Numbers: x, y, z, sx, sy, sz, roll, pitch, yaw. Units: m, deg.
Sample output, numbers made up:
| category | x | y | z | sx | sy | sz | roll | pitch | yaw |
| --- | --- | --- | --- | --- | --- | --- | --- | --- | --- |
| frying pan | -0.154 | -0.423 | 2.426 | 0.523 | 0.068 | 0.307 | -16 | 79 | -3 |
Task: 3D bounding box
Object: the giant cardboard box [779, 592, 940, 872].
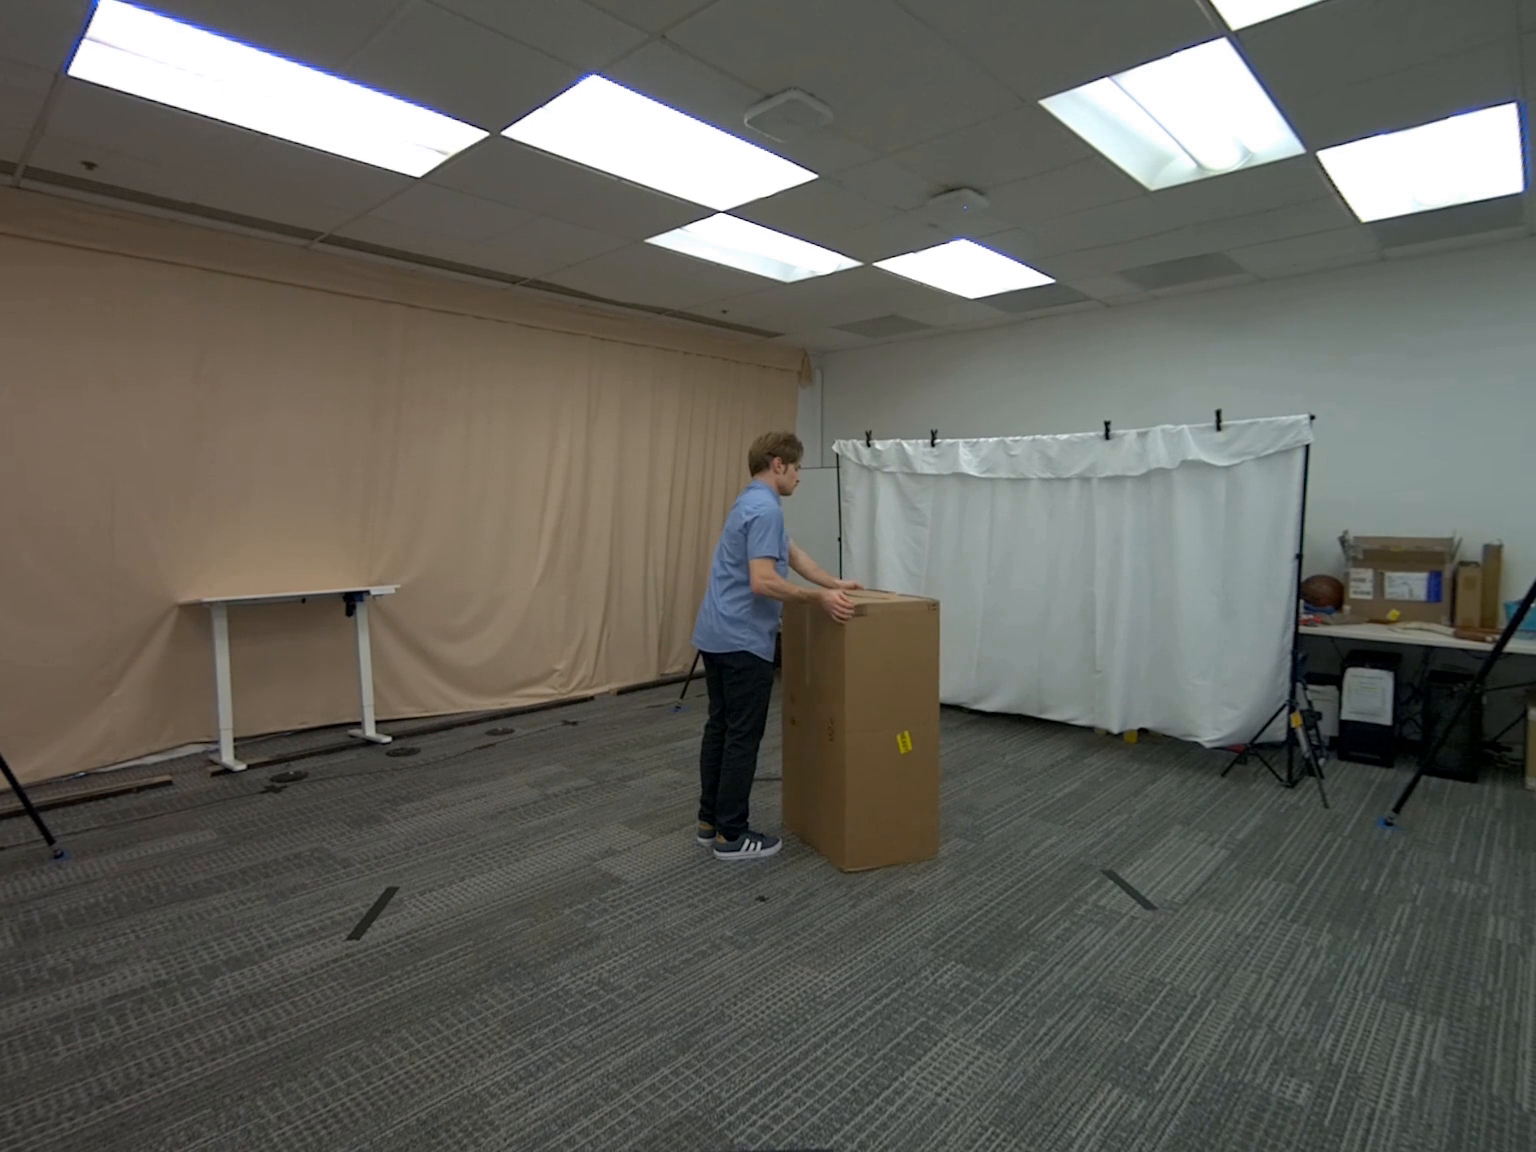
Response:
| category | x | y | z | sx | sy | sz | roll | pitch | yaw |
| --- | --- | --- | --- | --- | --- | --- | --- | --- | --- |
| giant cardboard box | 0.371 | 0.592 | 3.507 | 0.417 | 1.024 | 0.591 | -1 | 3 | -24 |
